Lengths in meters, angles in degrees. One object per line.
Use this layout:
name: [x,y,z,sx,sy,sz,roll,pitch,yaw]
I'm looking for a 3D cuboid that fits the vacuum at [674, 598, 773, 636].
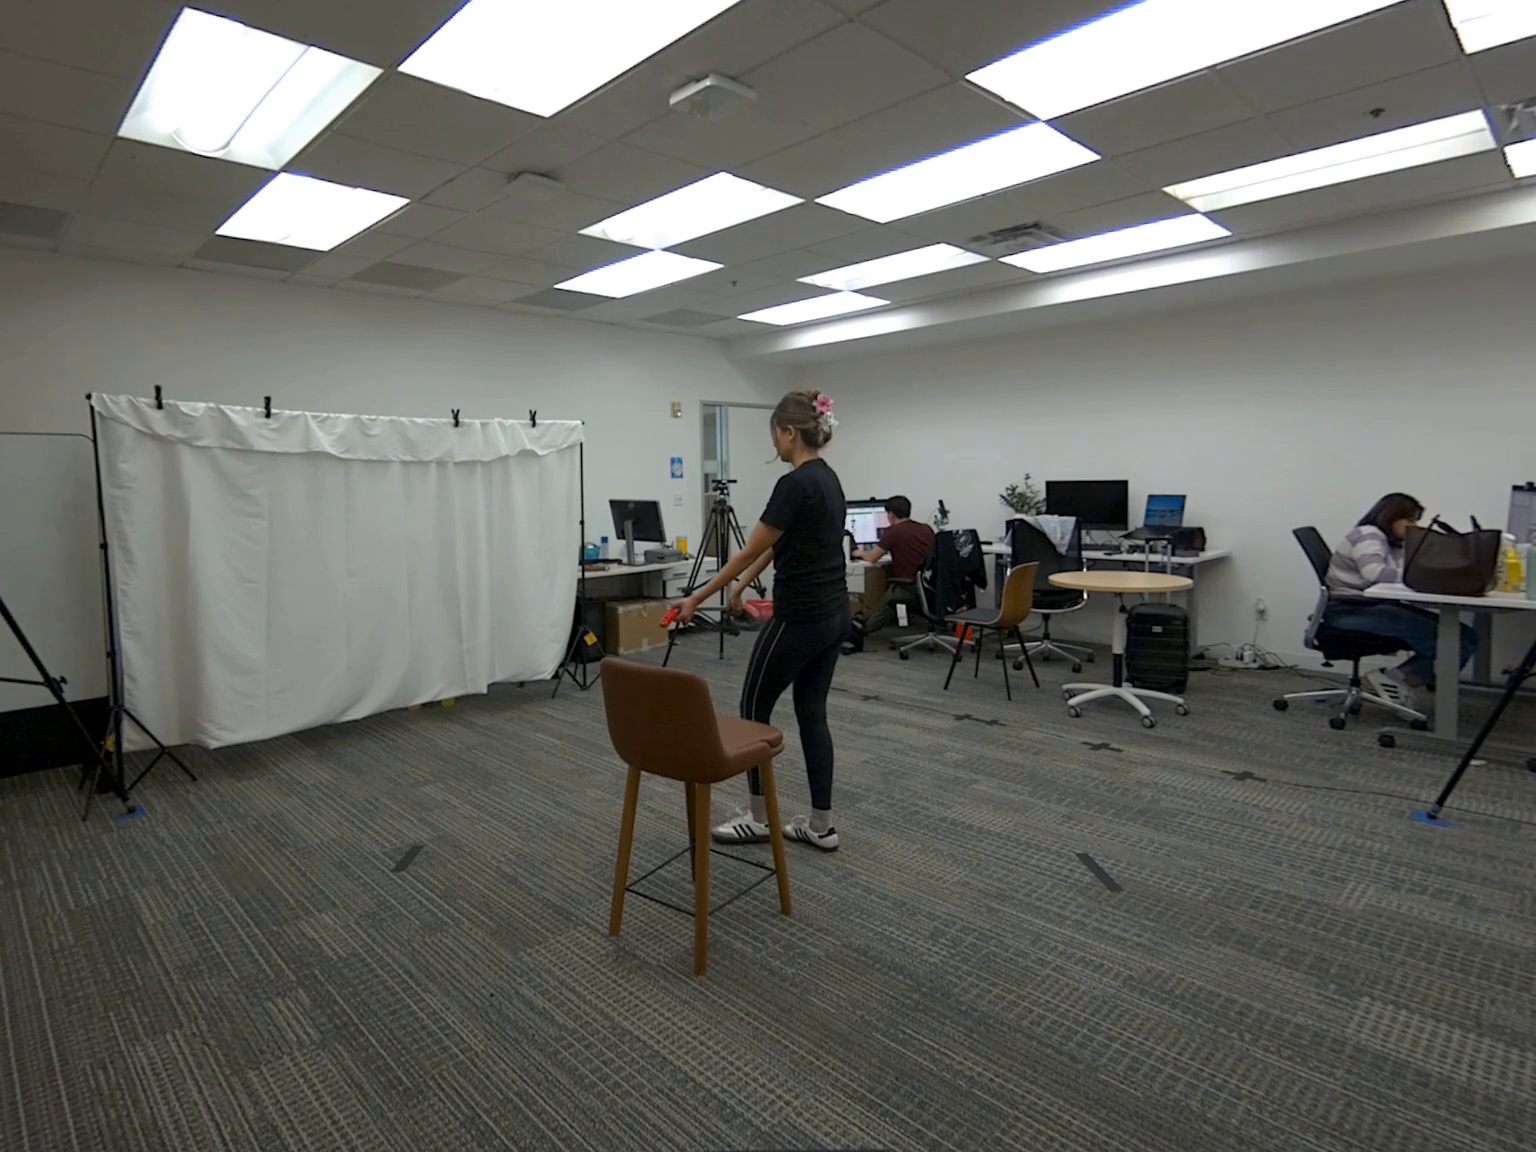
vacuum: [-0.181,0.185,3.449,0.257,0.144,1.026,-4,-2,22]
